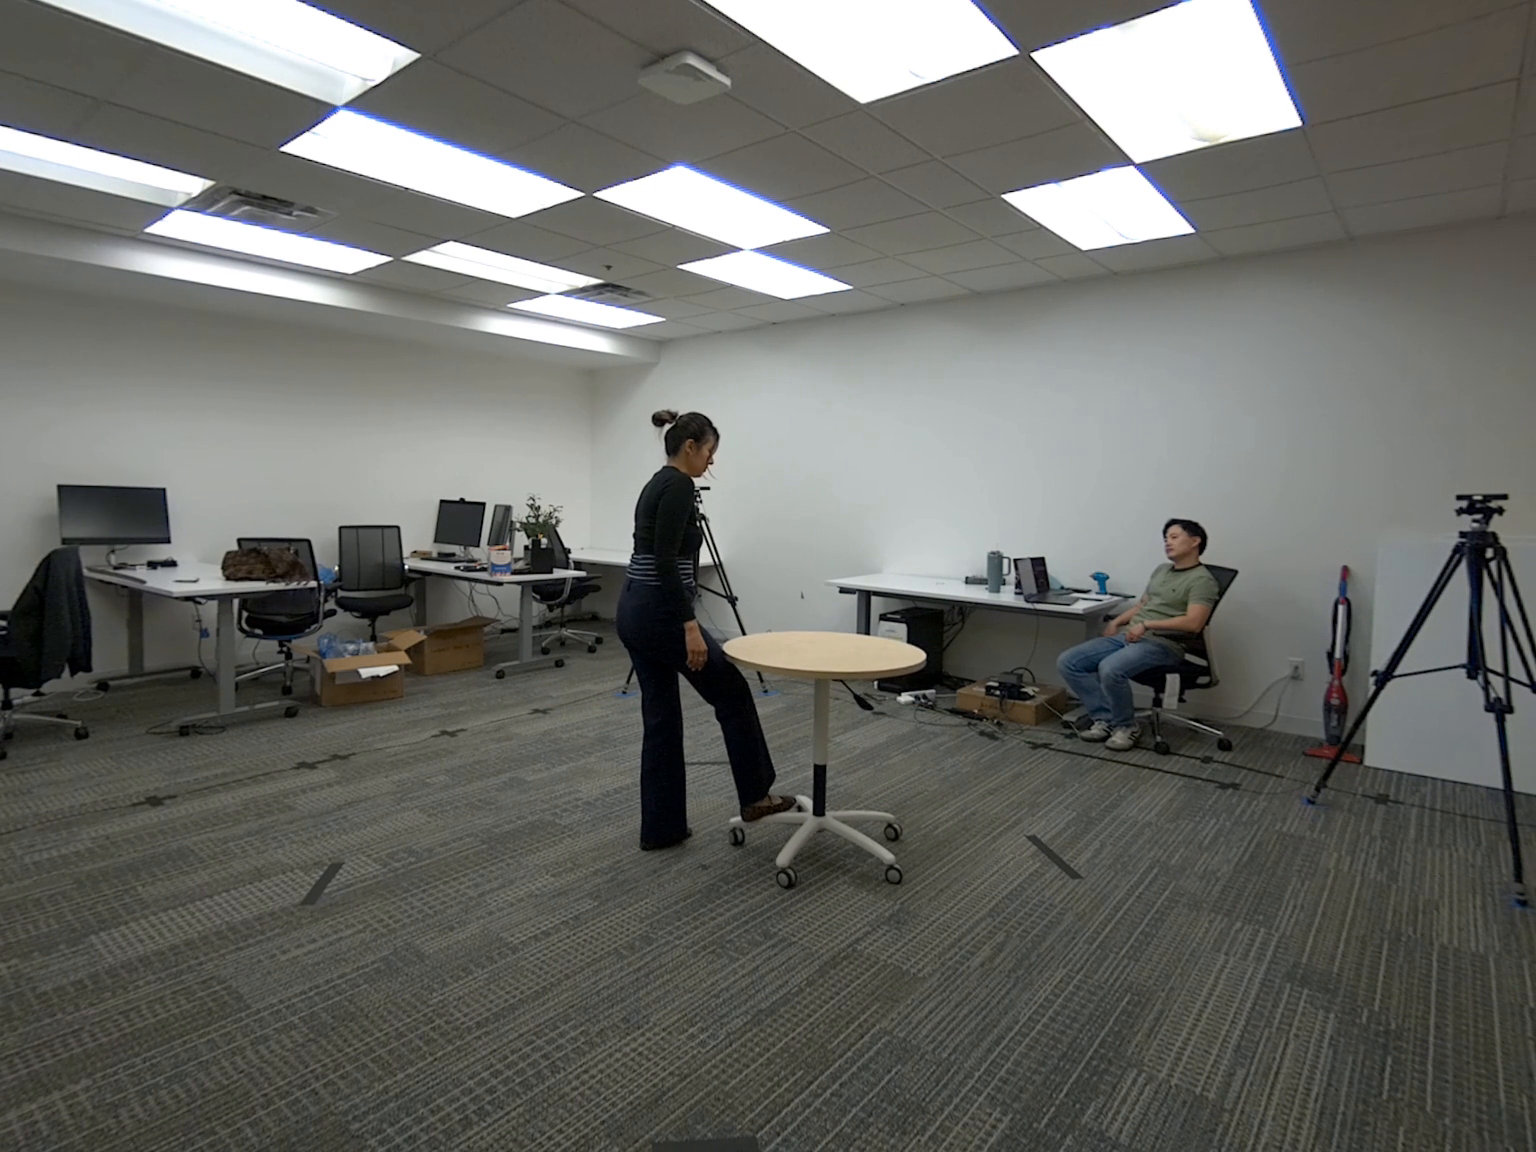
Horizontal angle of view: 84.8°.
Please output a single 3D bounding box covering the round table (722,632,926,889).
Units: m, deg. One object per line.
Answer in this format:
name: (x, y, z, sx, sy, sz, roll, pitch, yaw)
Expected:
round table: (0.202, 0.671, 3.263, 0.763, 0.791, 0.768, 1, 5, -2)
